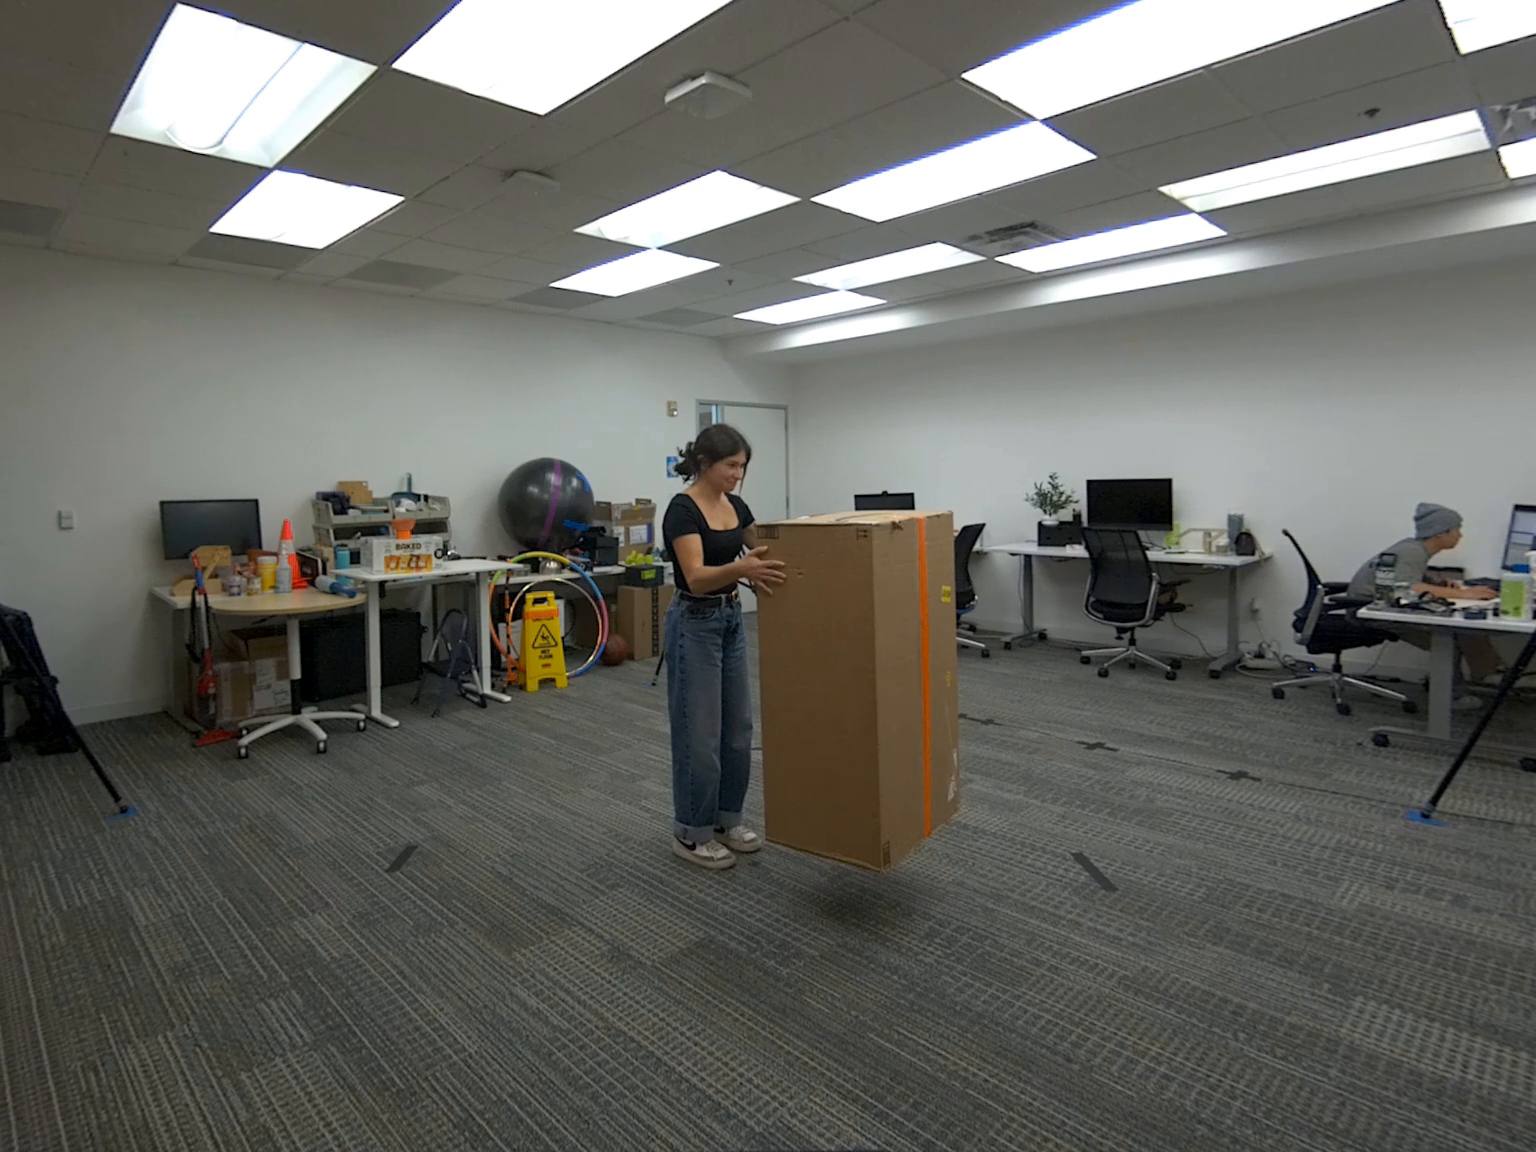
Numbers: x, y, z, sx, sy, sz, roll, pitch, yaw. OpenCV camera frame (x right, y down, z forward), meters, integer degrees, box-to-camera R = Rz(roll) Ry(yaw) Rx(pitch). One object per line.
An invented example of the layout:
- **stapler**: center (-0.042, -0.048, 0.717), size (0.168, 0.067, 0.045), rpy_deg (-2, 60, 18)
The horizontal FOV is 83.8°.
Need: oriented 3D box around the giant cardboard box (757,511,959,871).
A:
- **giant cardboard box**: center (0.308, 0.323, 2.790), size (0.438, 1.022, 0.563), rpy_deg (0, 5, 36)
